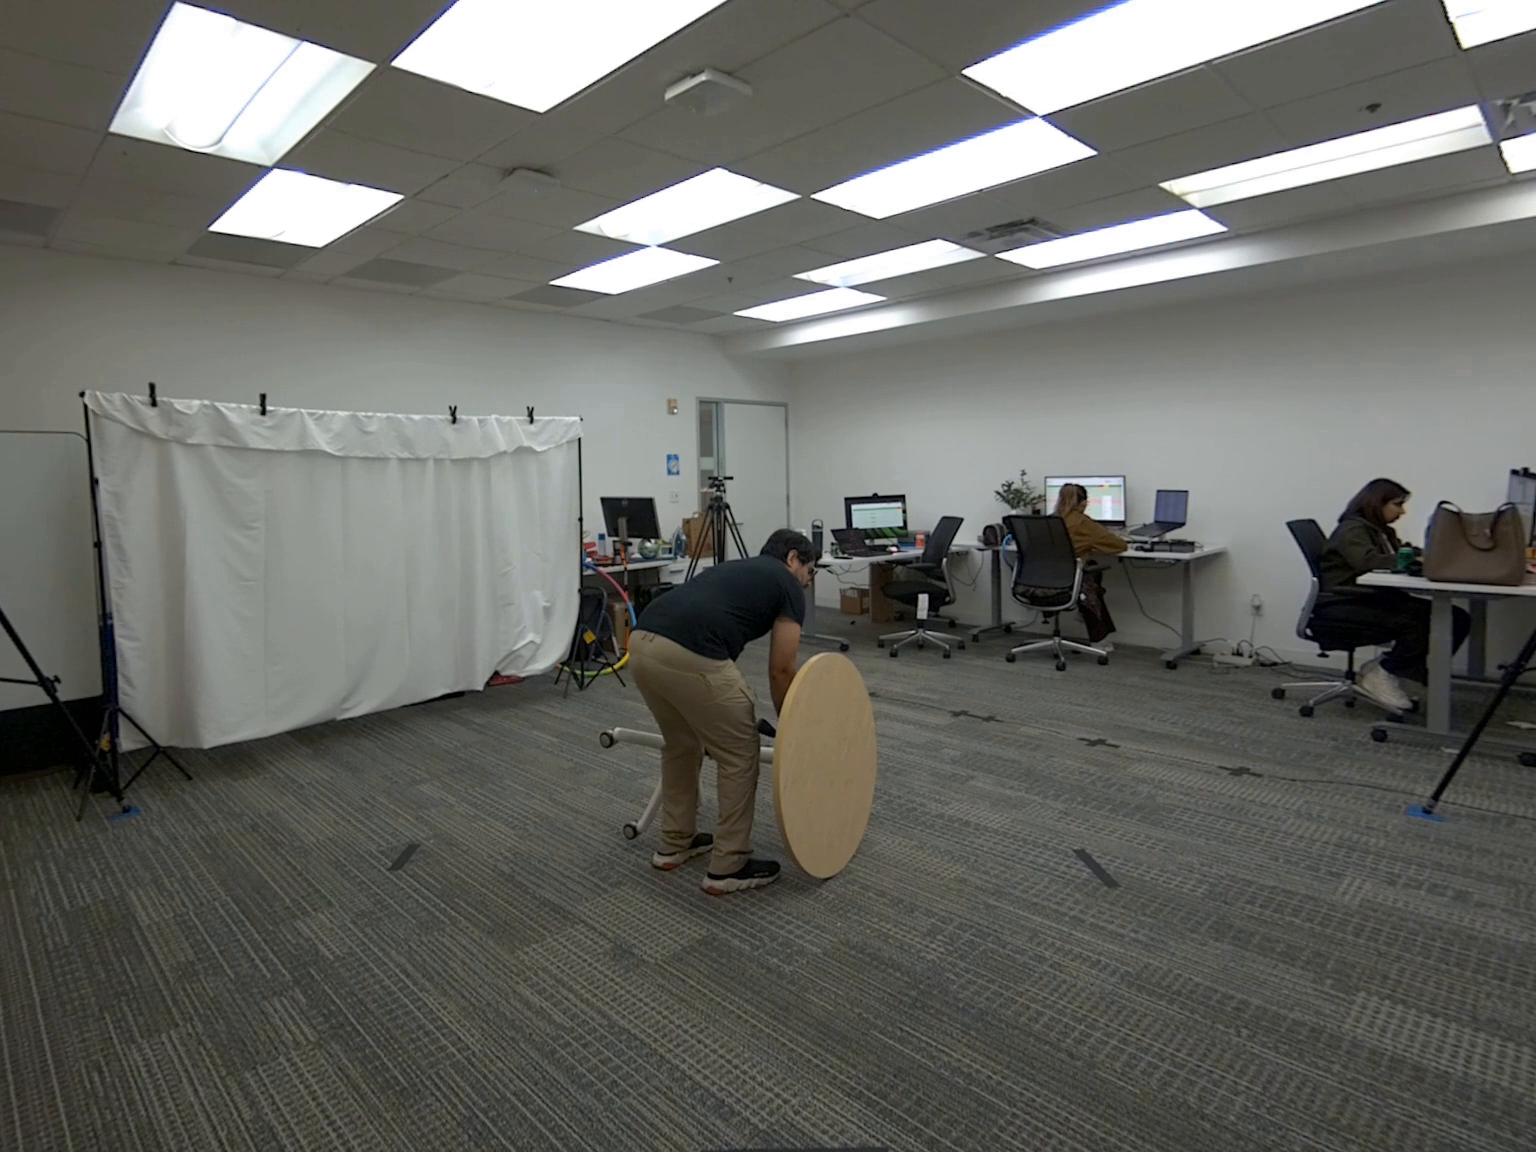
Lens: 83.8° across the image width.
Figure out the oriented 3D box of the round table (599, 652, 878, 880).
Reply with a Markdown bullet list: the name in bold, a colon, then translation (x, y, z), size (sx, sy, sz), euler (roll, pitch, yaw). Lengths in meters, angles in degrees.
- **round table**: translation (-0.112, 0.658, 3.237), size (0.806, 0.783, 0.767), euler (-2, 4, 32)
